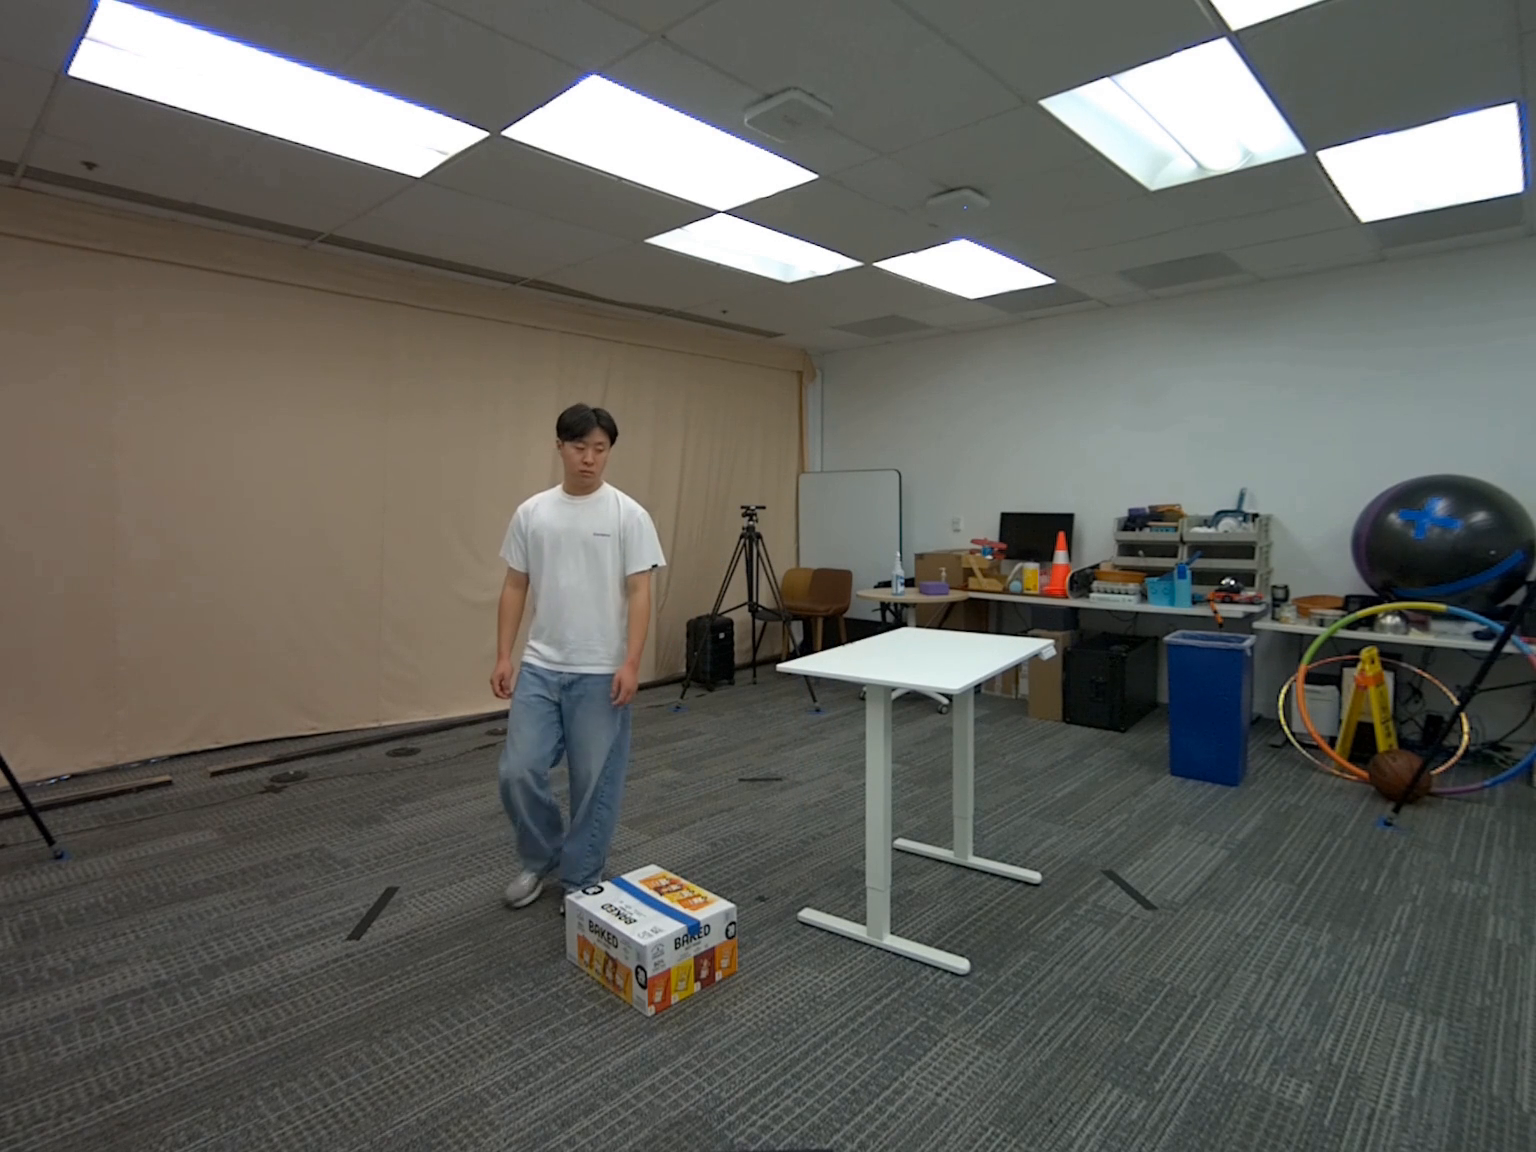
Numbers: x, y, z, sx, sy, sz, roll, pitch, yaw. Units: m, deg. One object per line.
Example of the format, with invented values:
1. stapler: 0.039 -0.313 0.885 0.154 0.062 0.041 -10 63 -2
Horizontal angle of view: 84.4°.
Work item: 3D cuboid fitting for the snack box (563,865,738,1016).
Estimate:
1. snack box: -0.354 1.083 2.540 0.330 0.205 0.419 -4 6 -44
